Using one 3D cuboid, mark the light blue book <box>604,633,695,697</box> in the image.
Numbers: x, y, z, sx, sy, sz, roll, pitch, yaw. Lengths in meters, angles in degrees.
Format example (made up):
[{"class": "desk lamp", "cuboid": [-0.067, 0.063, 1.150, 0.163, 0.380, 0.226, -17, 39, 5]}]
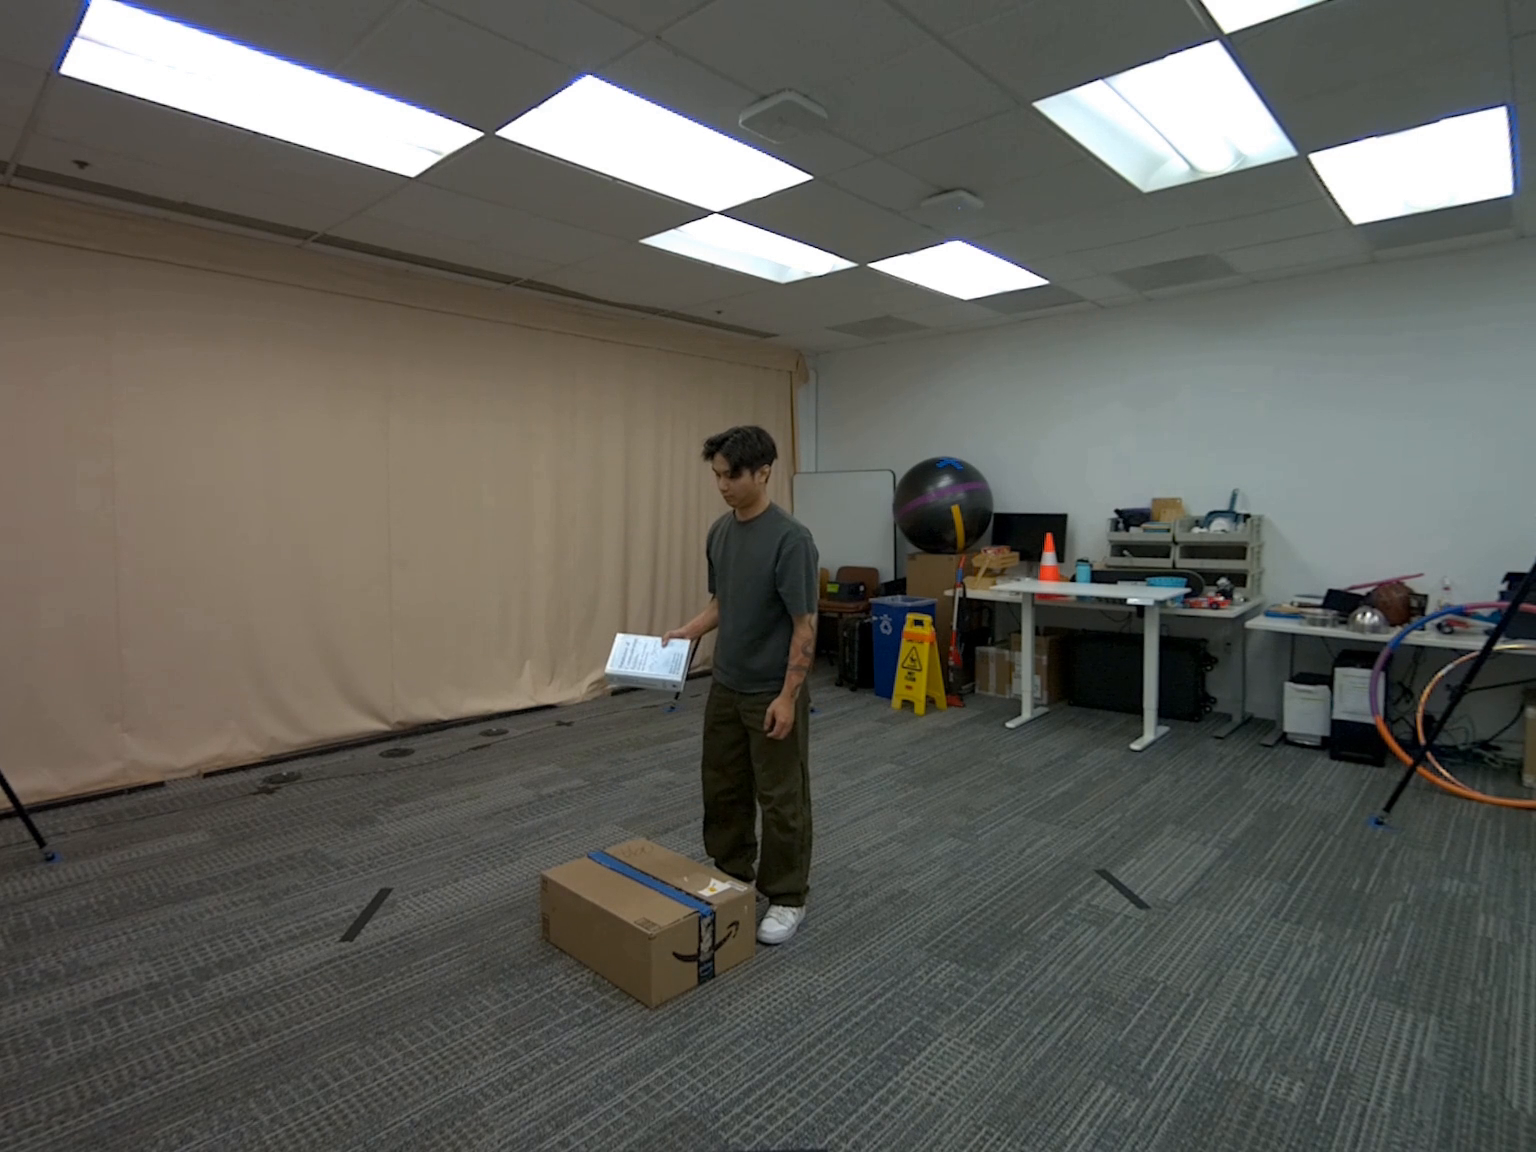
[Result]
[{"class": "light blue book", "cuboid": [-0.403, 0.300, 2.880, 0.263, 0.058, 0.193, 5, 41, 7]}]
